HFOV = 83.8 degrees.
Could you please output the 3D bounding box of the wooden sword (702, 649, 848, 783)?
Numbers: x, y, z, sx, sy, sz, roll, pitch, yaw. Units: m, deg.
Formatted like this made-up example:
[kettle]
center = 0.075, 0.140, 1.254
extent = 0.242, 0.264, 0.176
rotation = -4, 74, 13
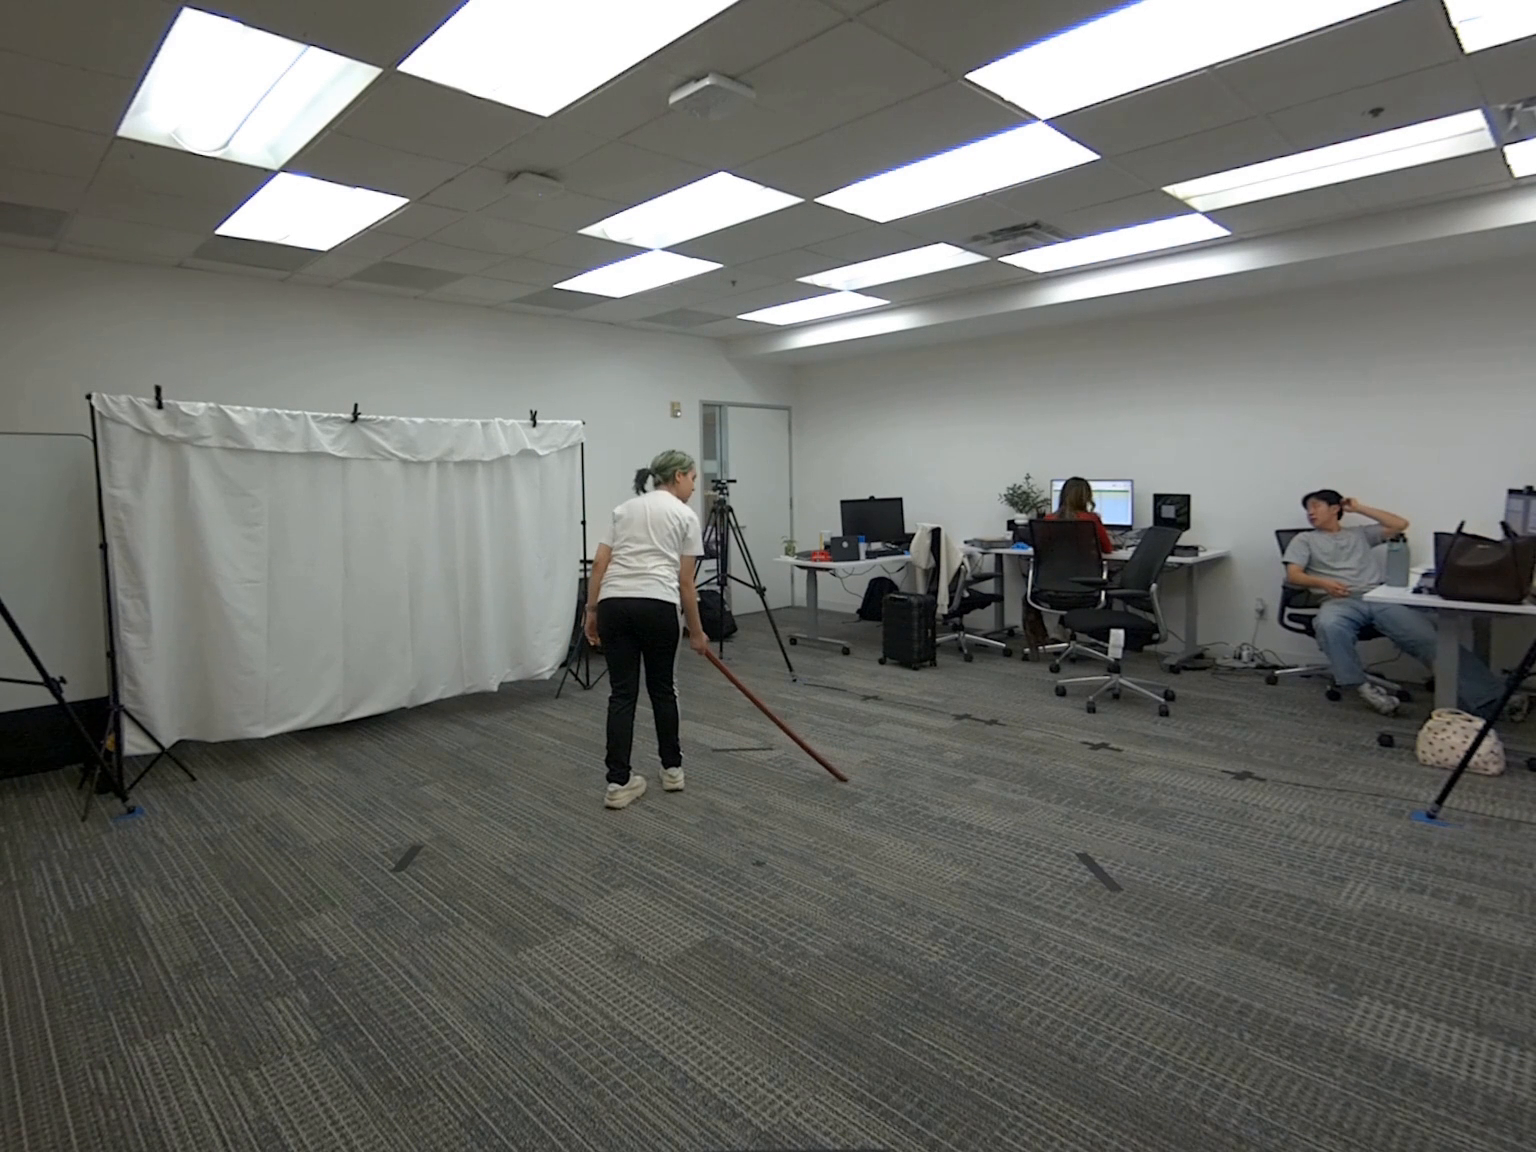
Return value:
[wooden sword]
center = -0.024, 0.602, 4.012
extent = 1.037, 0.024, 0.051
rotation = 42, -3, 9
